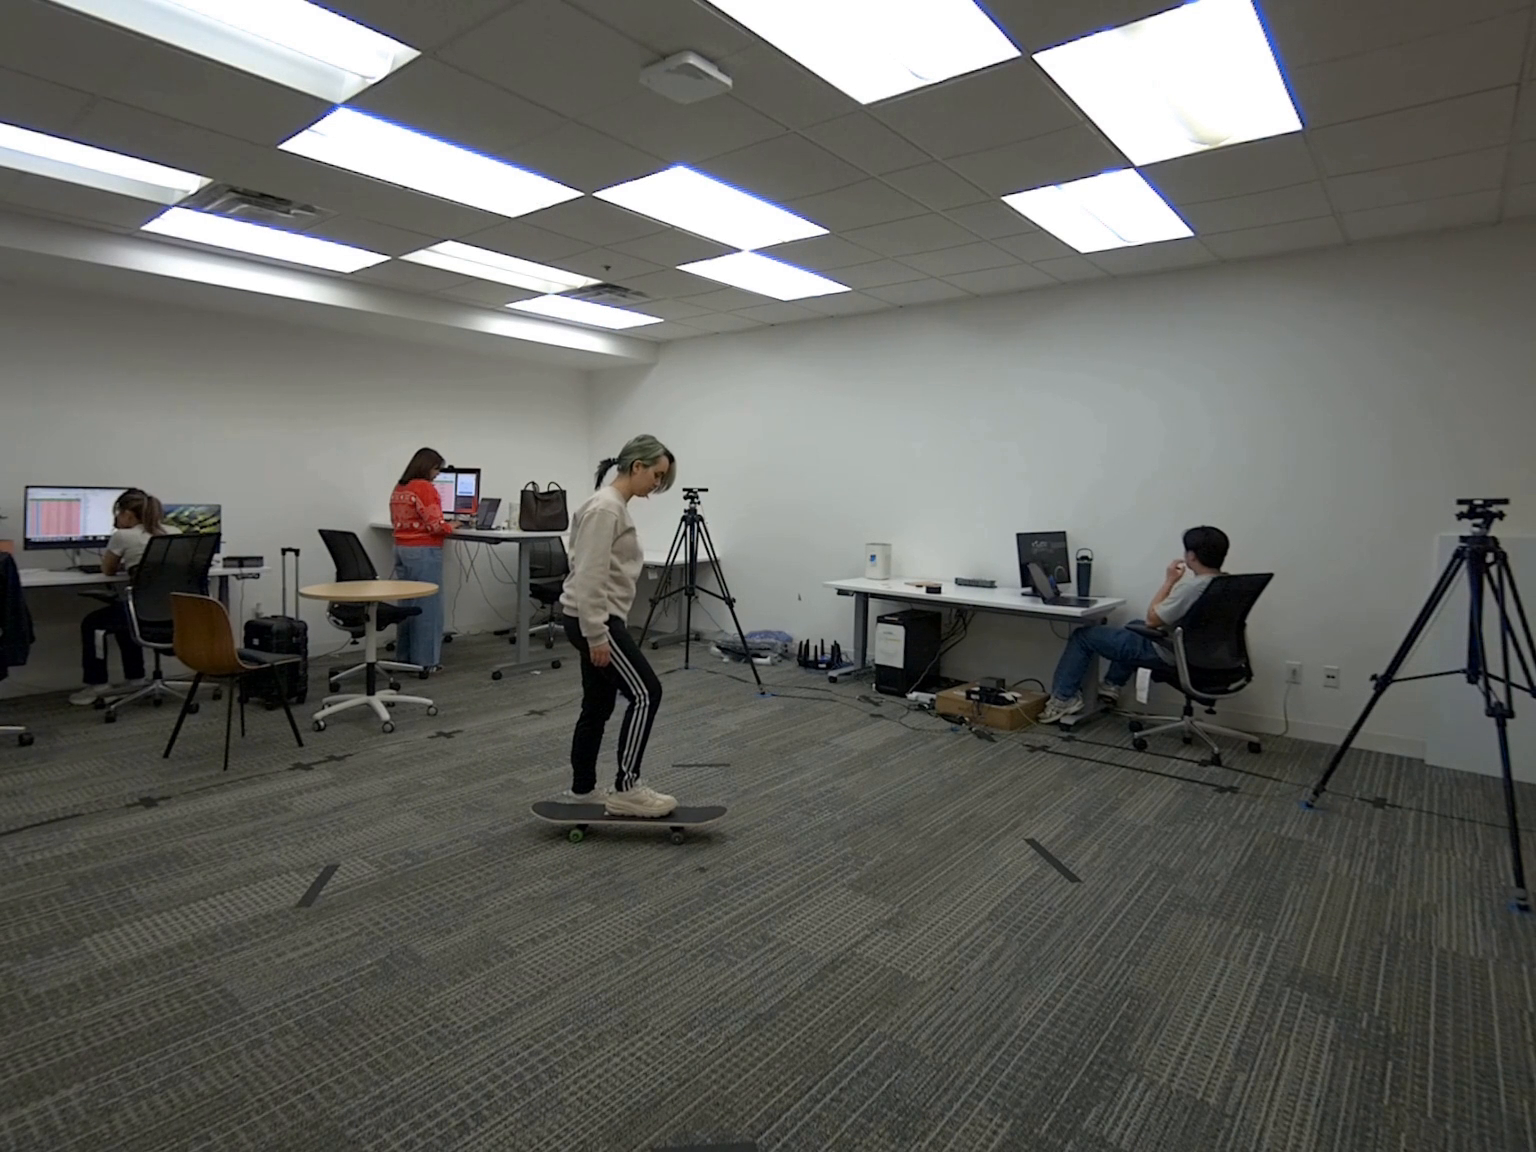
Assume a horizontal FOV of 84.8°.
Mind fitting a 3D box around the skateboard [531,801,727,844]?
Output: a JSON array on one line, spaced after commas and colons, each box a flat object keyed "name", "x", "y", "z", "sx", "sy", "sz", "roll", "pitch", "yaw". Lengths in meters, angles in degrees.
[{"name": "skateboard", "x": -0.563, "y": 0.982, "z": 3.403, "sx": 0.784, "sy": 0.110, "sz": 0.194, "roll": 1, "pitch": 4, "yaw": -1}]
